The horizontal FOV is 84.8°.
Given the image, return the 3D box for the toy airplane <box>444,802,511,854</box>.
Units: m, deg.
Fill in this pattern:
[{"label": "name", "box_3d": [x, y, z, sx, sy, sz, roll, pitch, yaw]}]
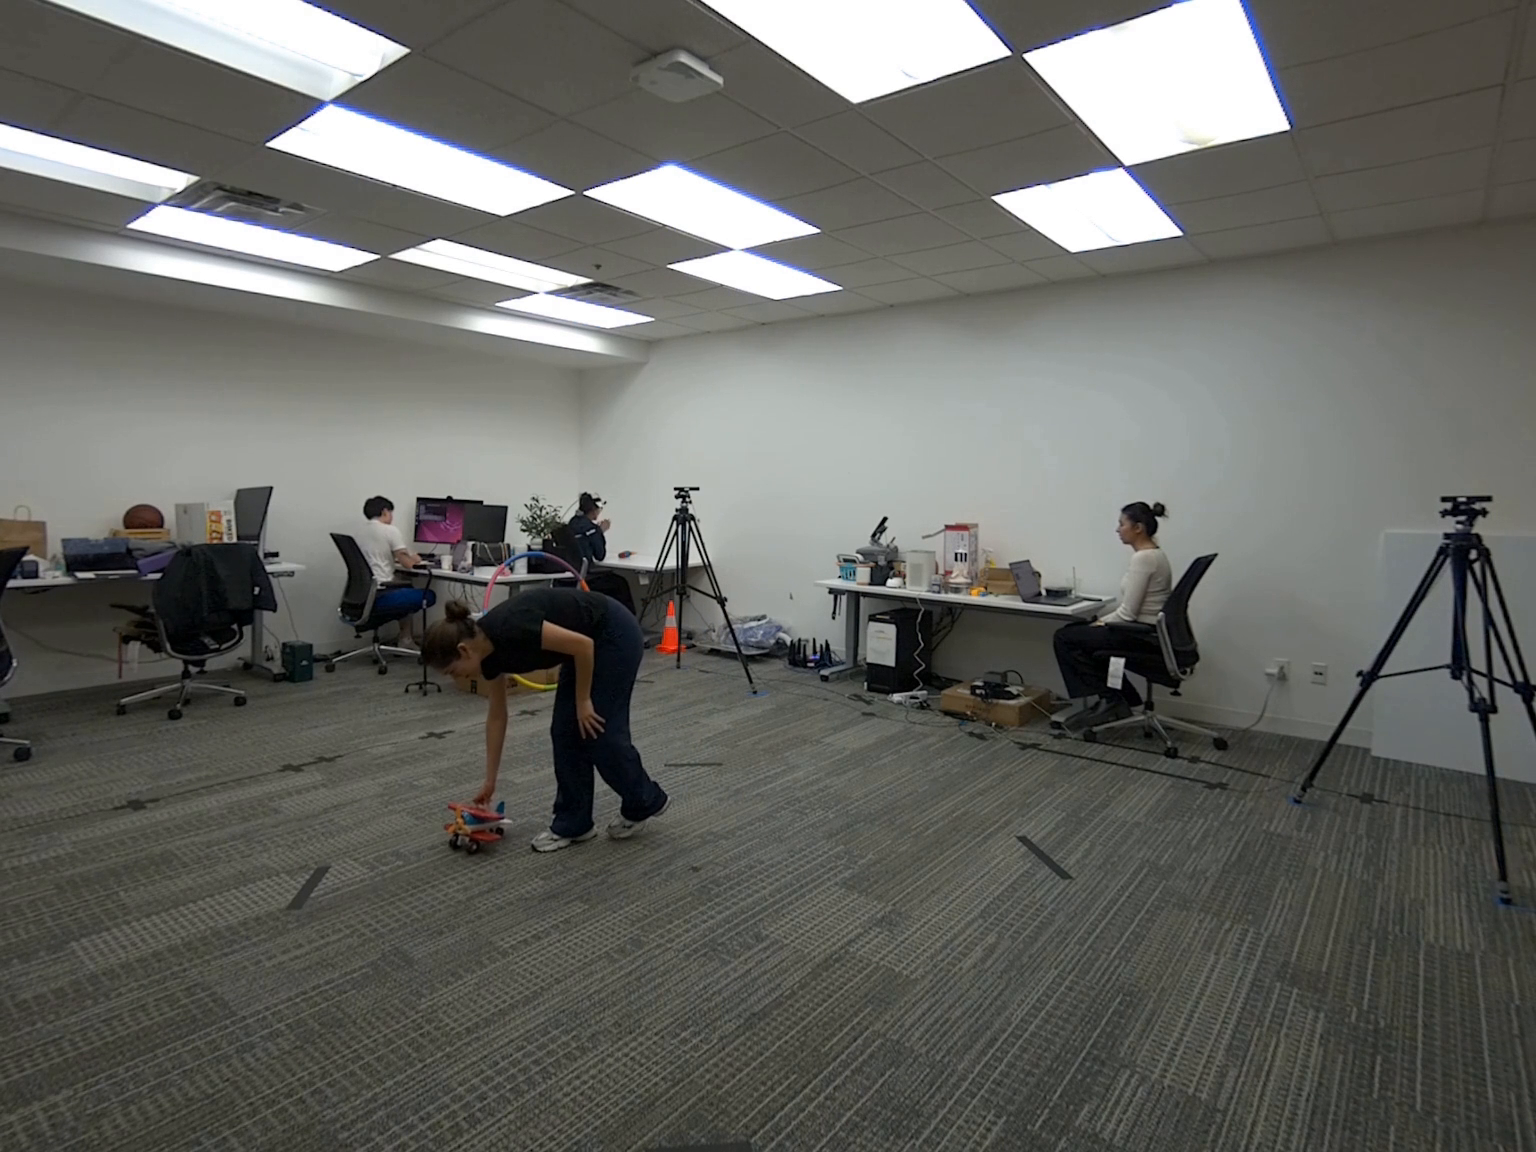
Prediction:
[{"label": "toy airplane", "box_3d": [-1.127, 0.961, 3.327, 0.251, 0.156, 0.260, 1, 6, -1]}]
